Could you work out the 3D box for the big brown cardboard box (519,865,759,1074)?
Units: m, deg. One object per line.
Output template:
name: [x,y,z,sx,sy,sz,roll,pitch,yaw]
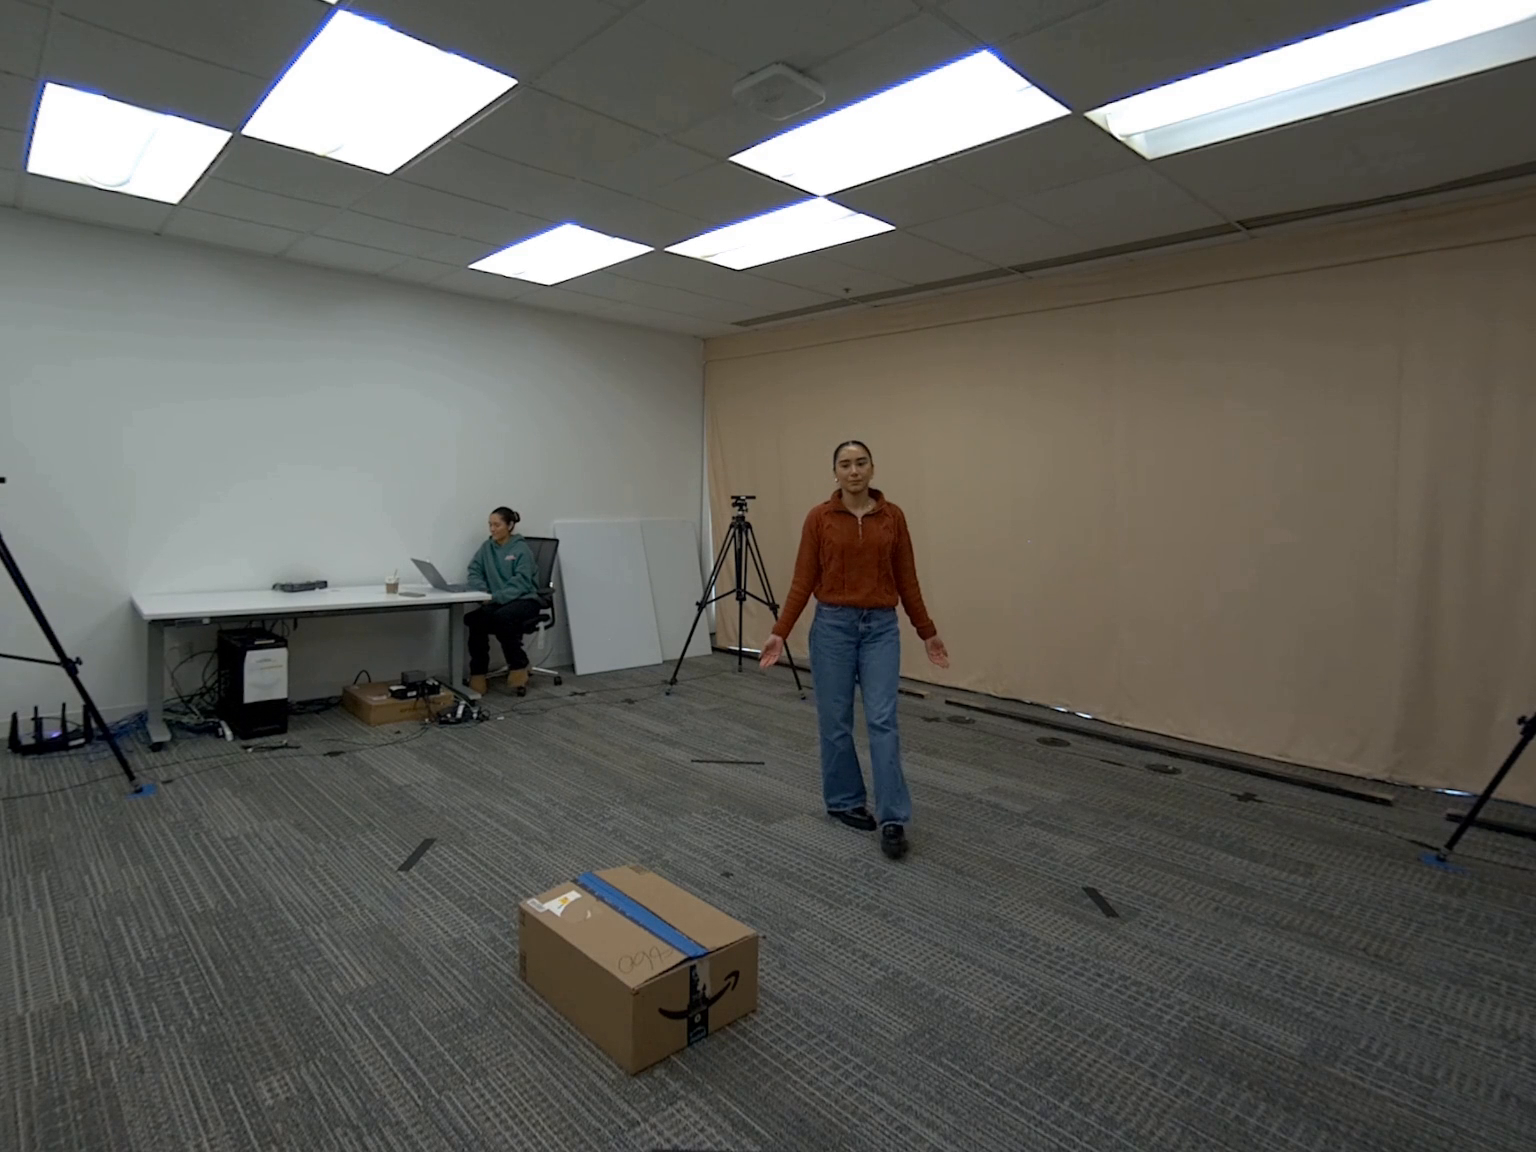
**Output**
big brown cardboard box: [-0.380,1.057,2.350,0.408,0.232,0.604,-3,7,-44]
